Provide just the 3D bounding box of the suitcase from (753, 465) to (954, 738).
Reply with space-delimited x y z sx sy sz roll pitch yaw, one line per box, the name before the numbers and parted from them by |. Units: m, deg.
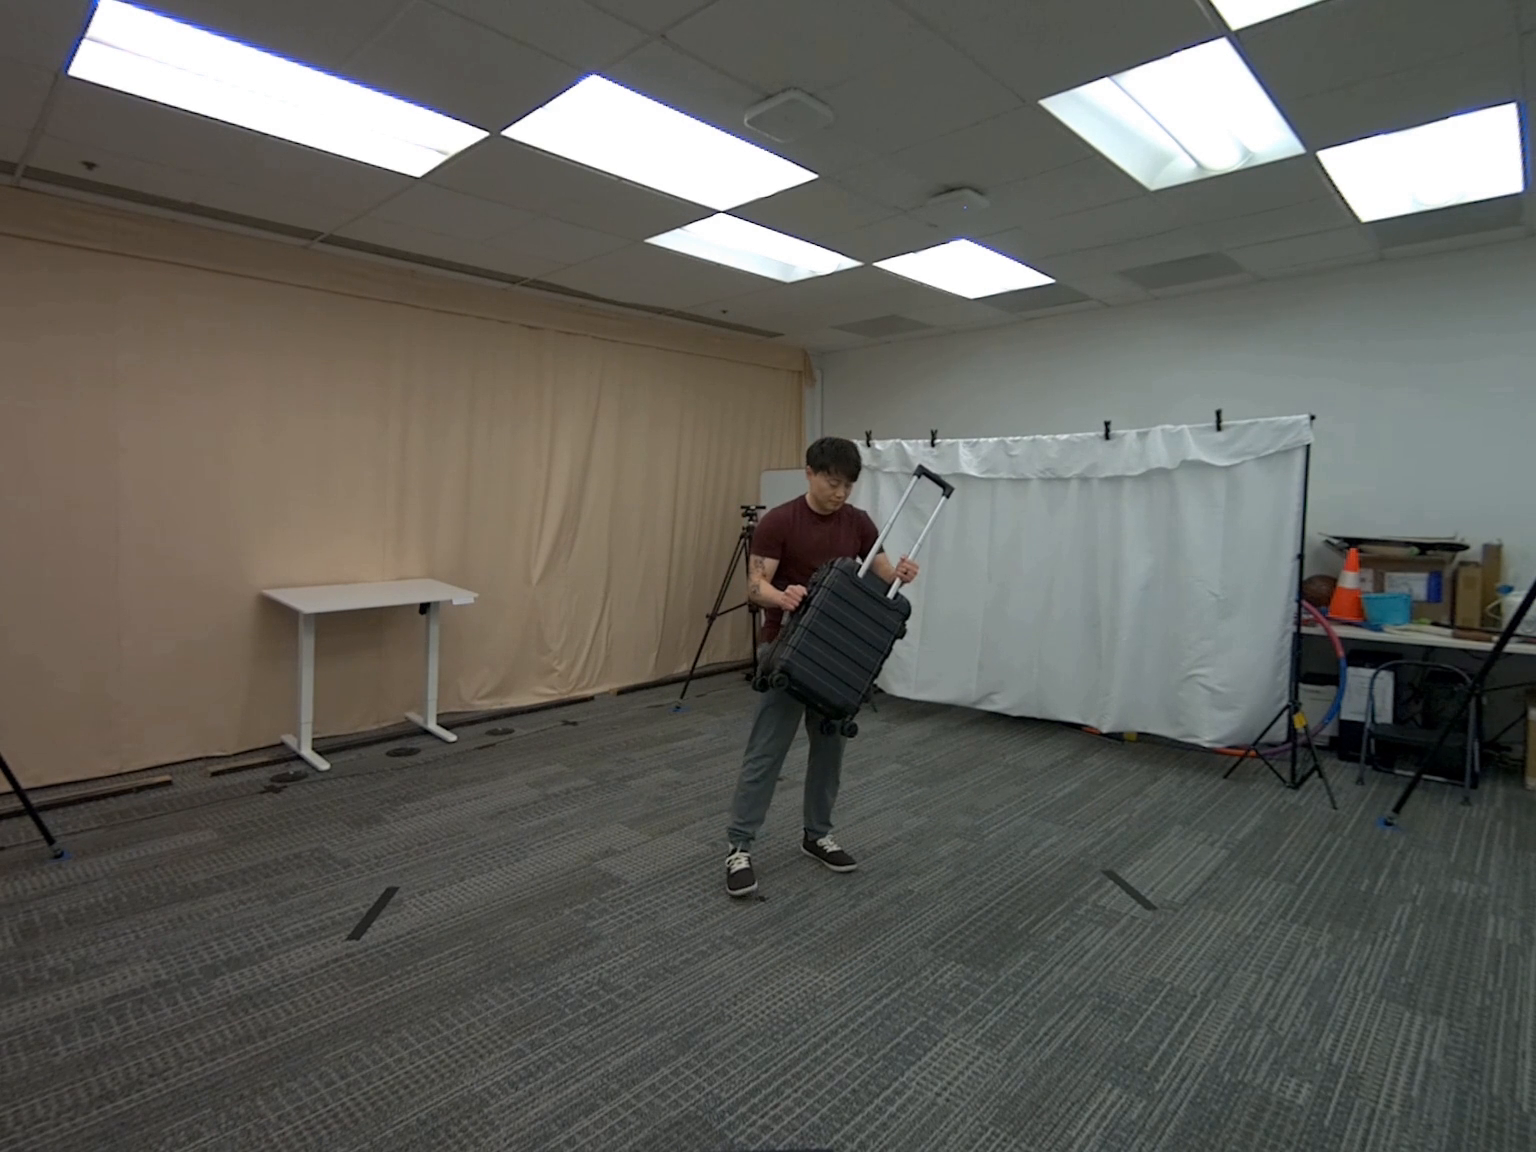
suitcase | 0.340 0.063 3.035 0.381 0.977 0.259 34 -18 -7
